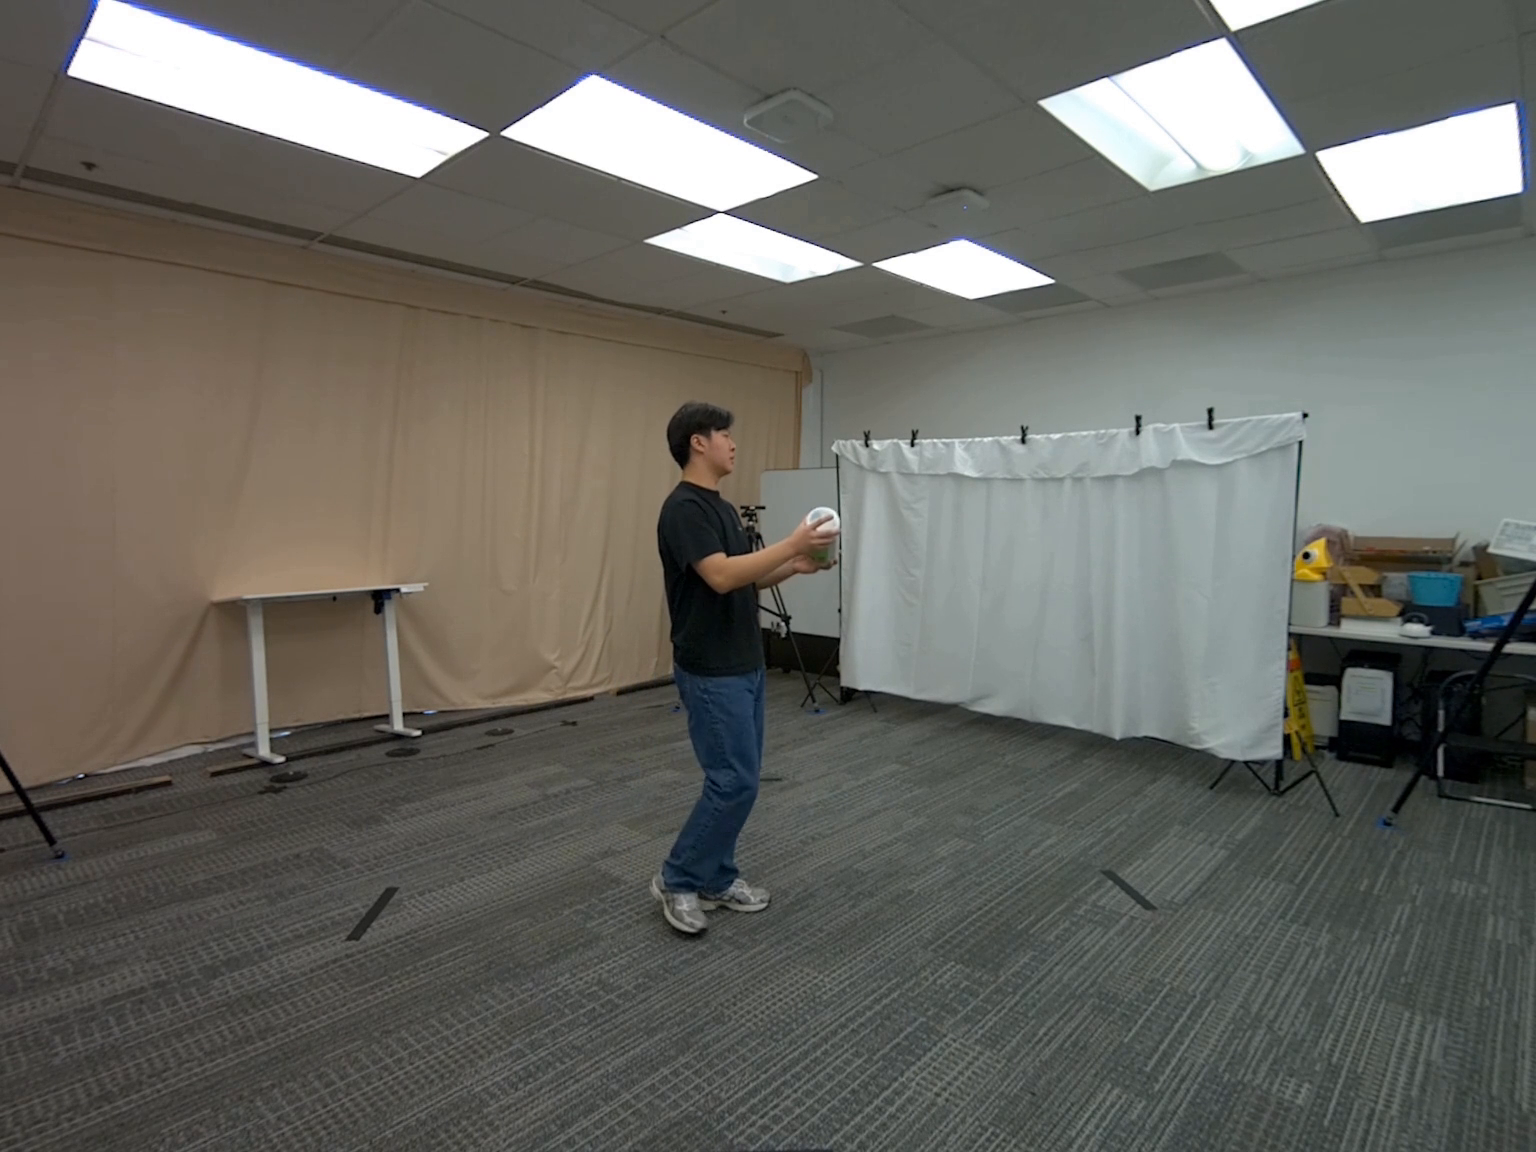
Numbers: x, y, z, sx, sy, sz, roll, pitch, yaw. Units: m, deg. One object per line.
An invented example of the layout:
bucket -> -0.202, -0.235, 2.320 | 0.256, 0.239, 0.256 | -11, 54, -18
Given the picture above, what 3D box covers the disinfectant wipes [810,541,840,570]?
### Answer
disinfectant wipes -> 0.177, -0.131, 2.735 | 0.118, 0.119, 0.213 | 1, -26, 2
